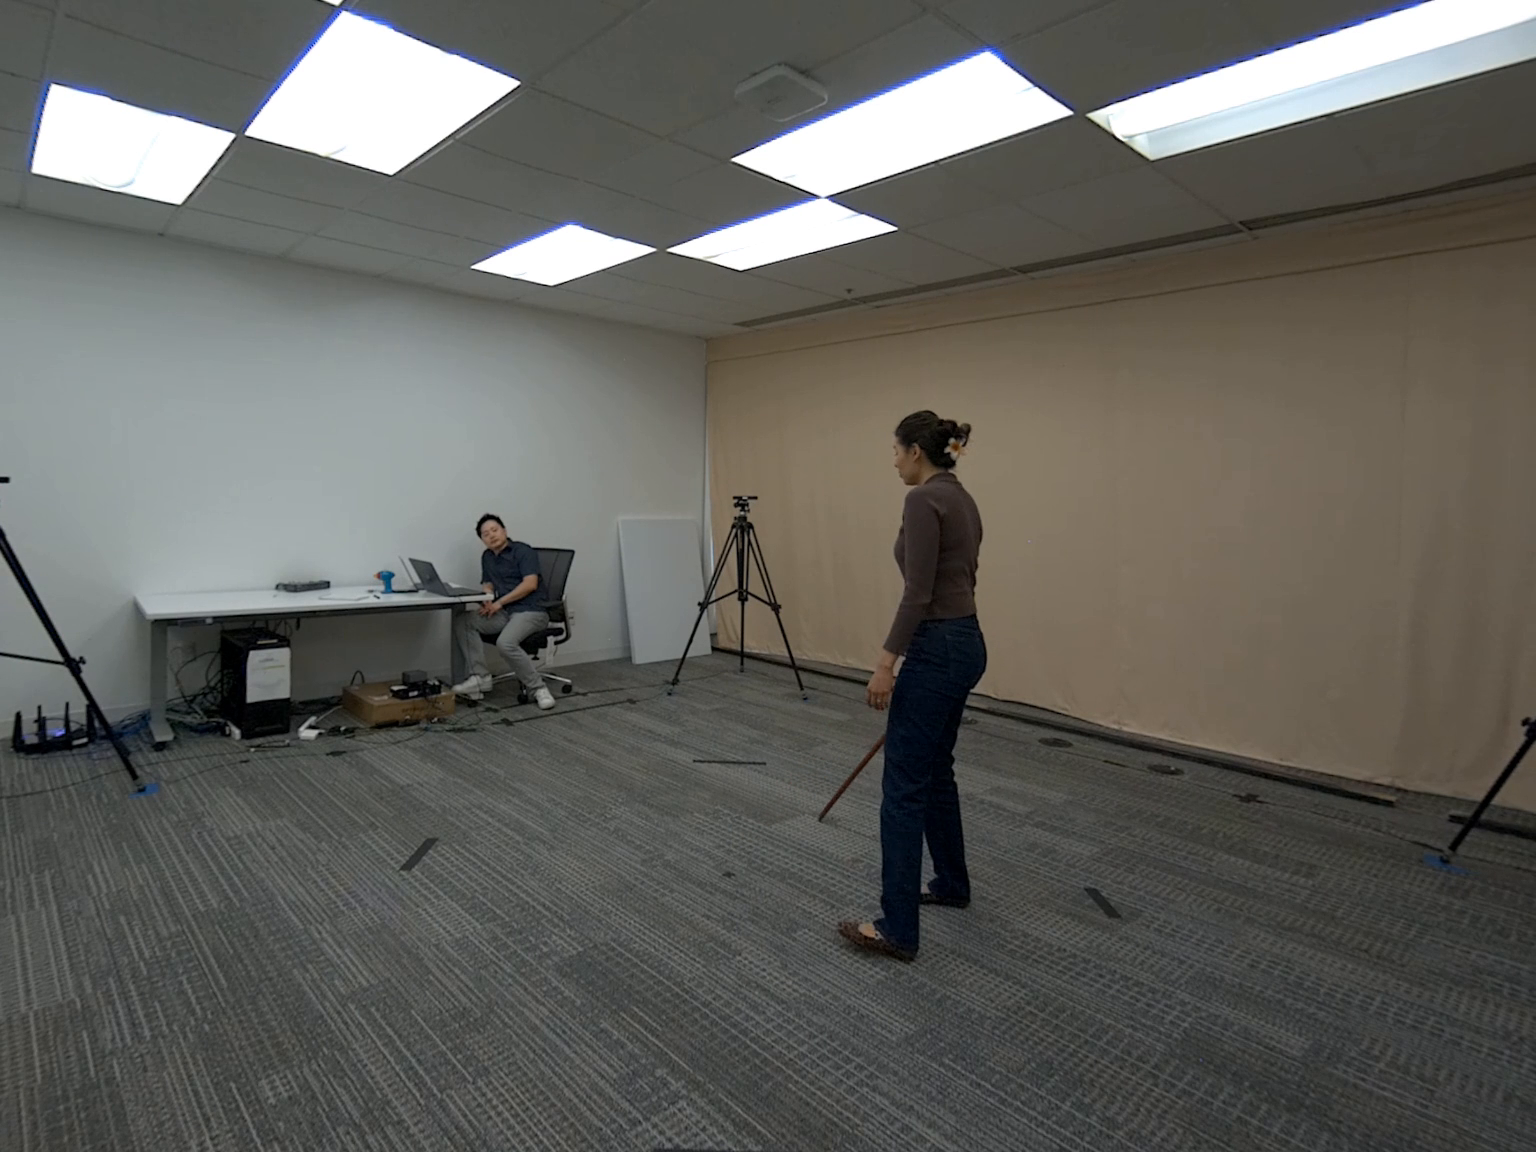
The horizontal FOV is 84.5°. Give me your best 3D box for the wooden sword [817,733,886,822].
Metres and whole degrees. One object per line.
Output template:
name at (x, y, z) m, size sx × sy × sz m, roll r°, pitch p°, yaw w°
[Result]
wooden sword at (0.439, 0.685, 3.403) m, size 0.024 × 1.019 × 0.052 m, roll 27°, pitch 31°, yaw -9°
